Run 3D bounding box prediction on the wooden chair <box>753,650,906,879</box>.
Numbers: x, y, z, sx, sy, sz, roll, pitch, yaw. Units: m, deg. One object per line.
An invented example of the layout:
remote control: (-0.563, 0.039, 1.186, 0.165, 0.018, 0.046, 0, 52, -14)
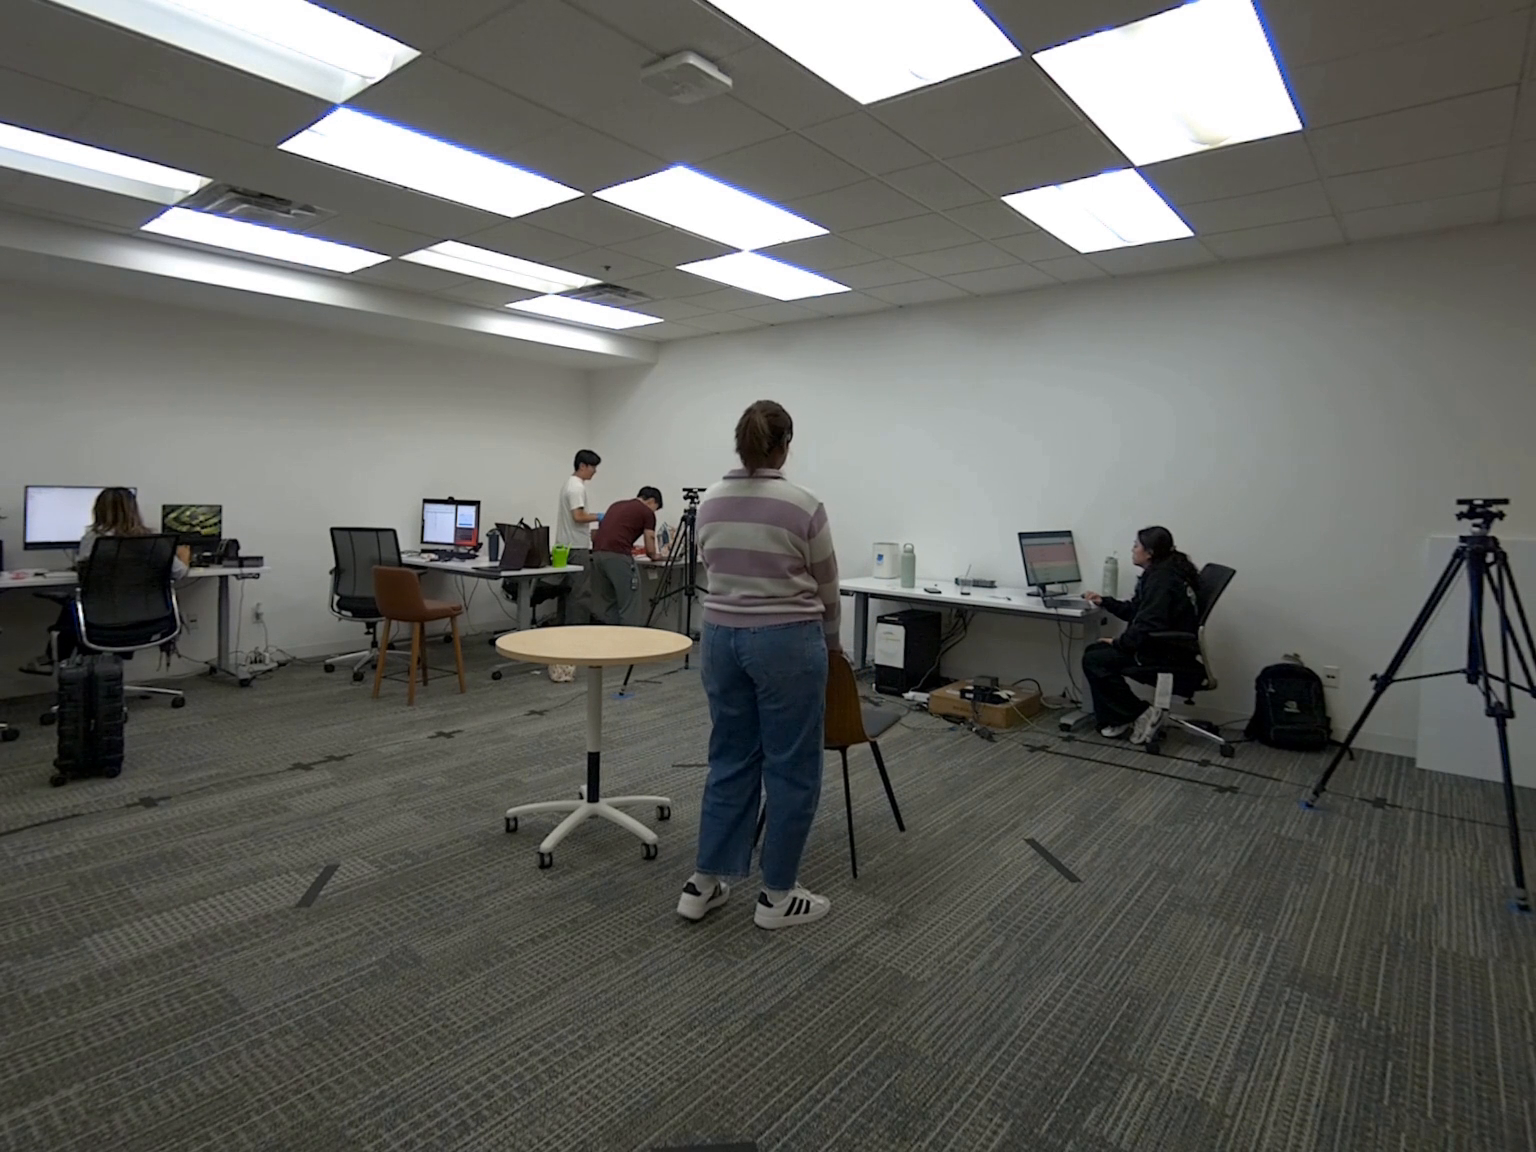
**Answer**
wooden chair: (0.234, 0.616, 3.318, 0.493, 0.869, 0.512, 3, 12, 34)
